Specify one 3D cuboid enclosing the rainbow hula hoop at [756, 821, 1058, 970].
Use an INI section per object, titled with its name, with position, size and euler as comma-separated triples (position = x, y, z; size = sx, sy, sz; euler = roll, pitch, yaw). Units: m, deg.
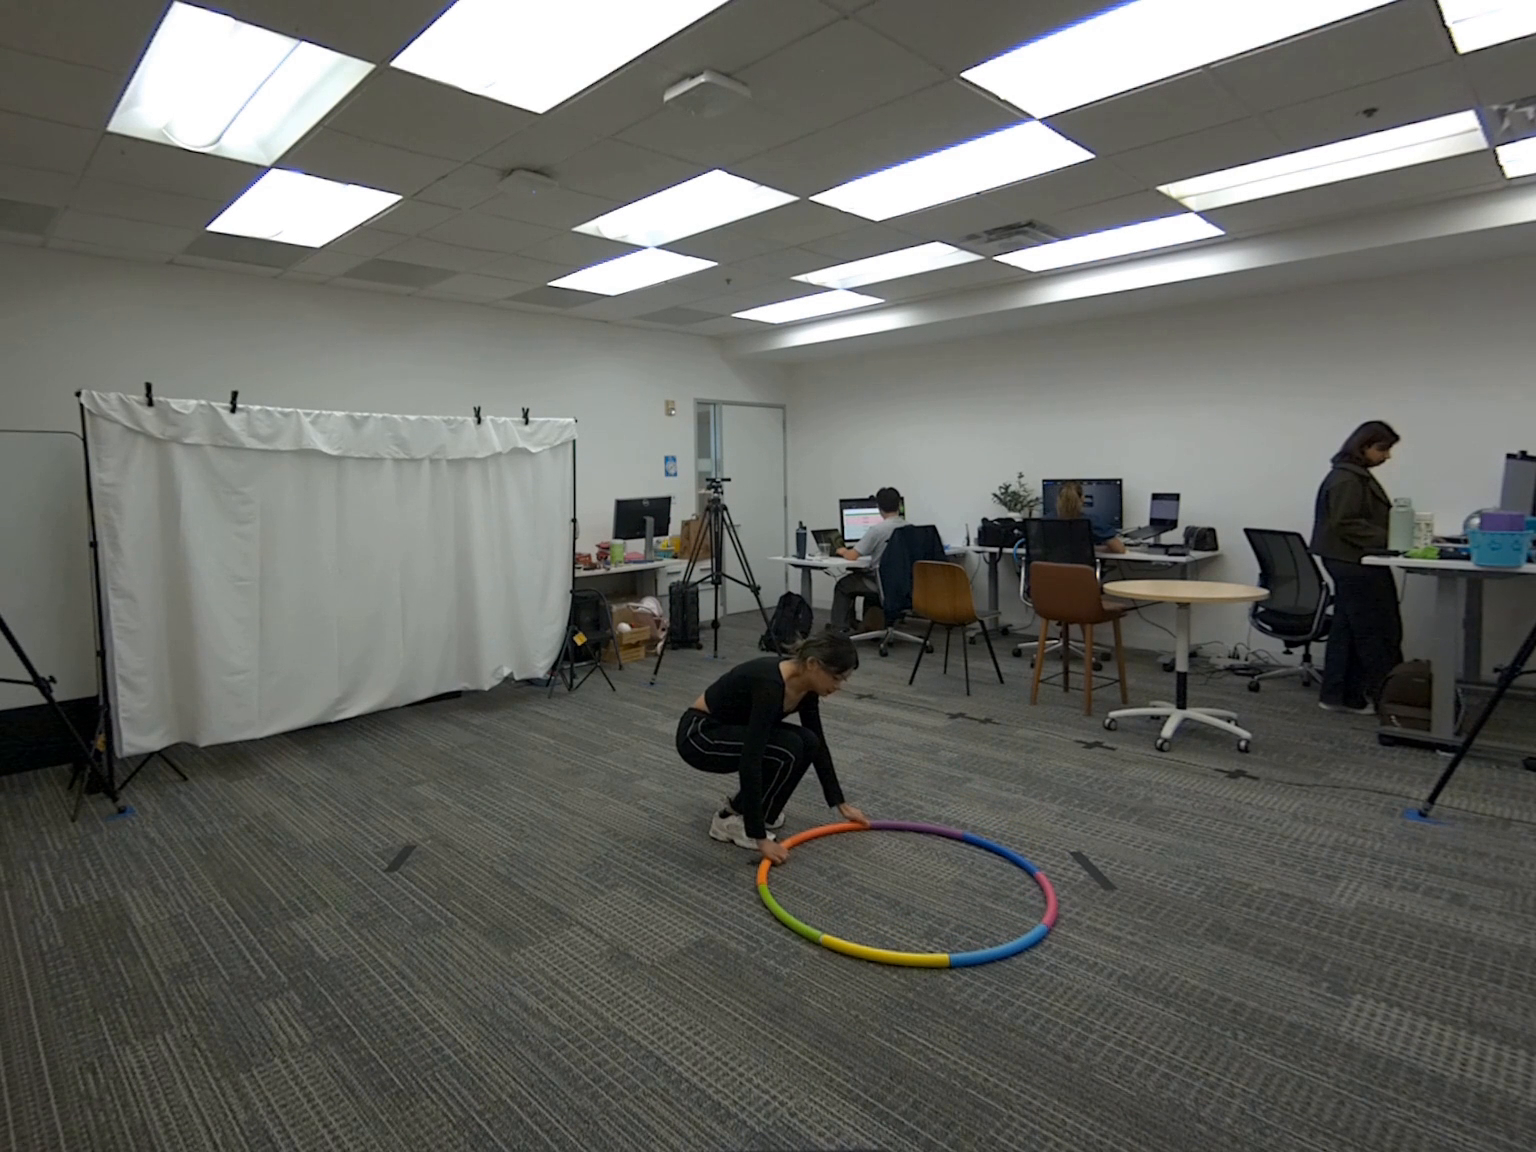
[rainbow hula hoop]
position = 0.451, 1.028, 2.901
size = 0.978, 0.035, 0.984
euler = -2, 7, -2
